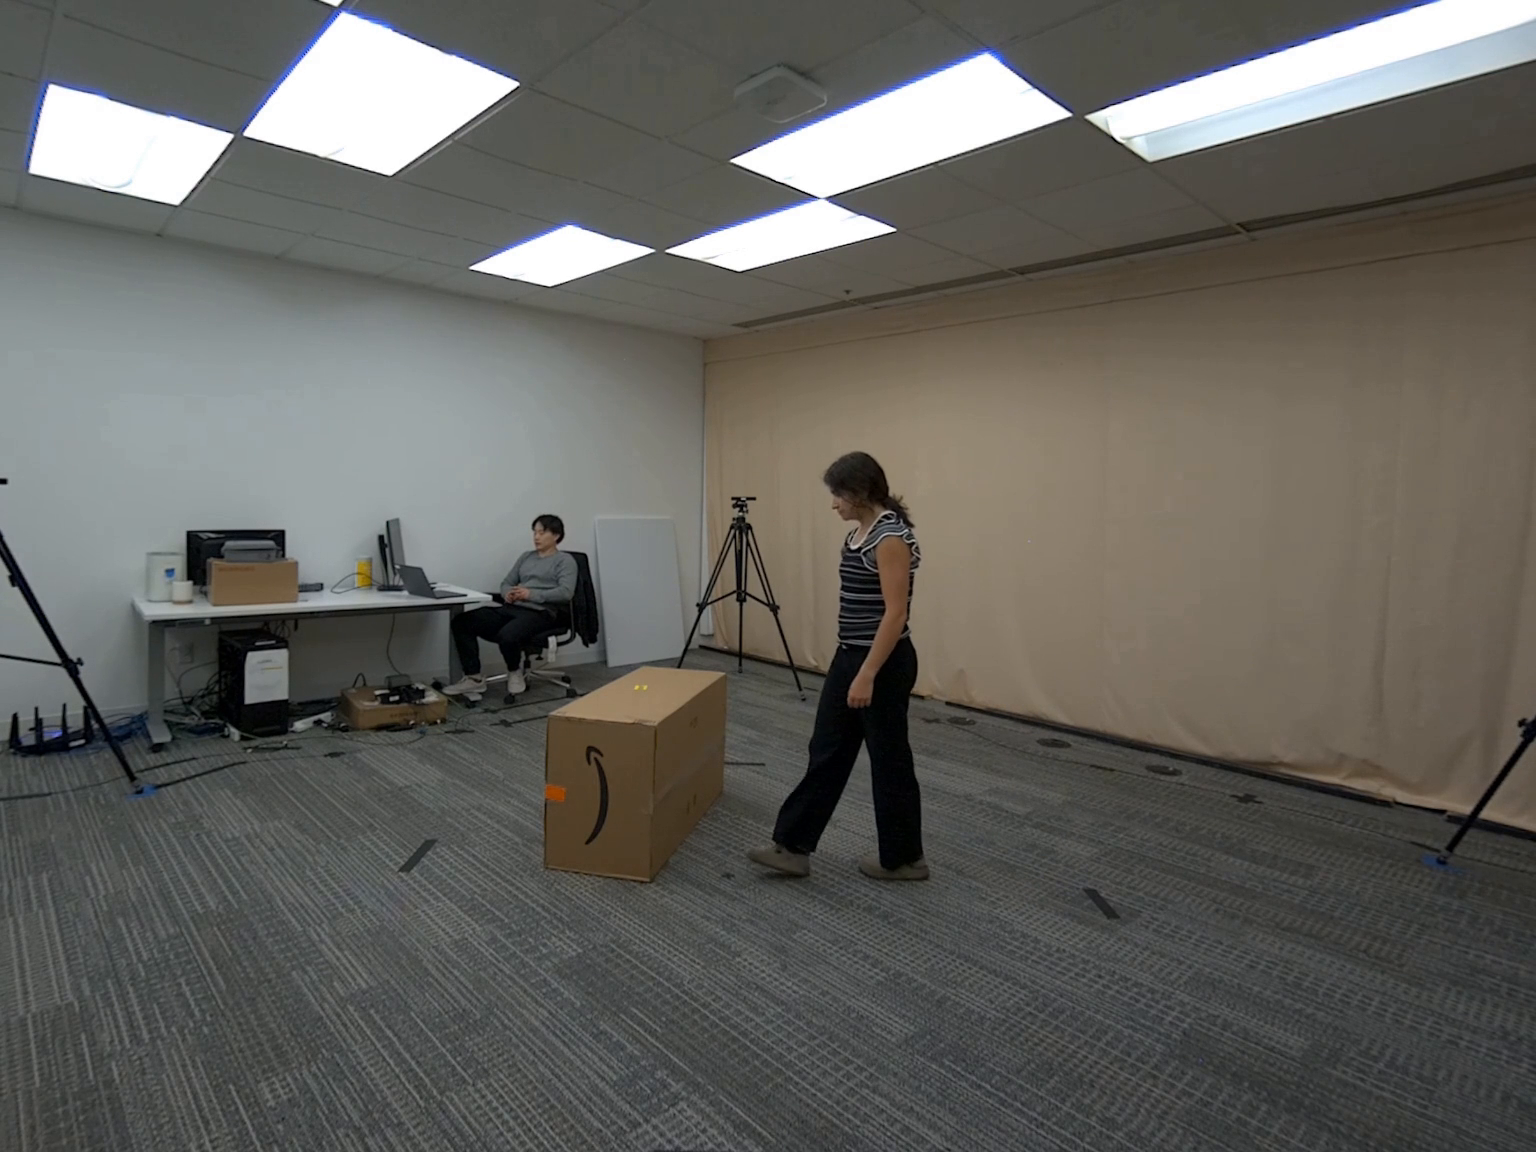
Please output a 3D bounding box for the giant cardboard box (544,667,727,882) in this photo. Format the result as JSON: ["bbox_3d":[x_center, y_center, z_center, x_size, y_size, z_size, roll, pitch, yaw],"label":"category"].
[{"bbox_3d":[-0.525,0.768,3.567,0.431,0.576,1.017,2,4,12],"label":"giant cardboard box"}]
